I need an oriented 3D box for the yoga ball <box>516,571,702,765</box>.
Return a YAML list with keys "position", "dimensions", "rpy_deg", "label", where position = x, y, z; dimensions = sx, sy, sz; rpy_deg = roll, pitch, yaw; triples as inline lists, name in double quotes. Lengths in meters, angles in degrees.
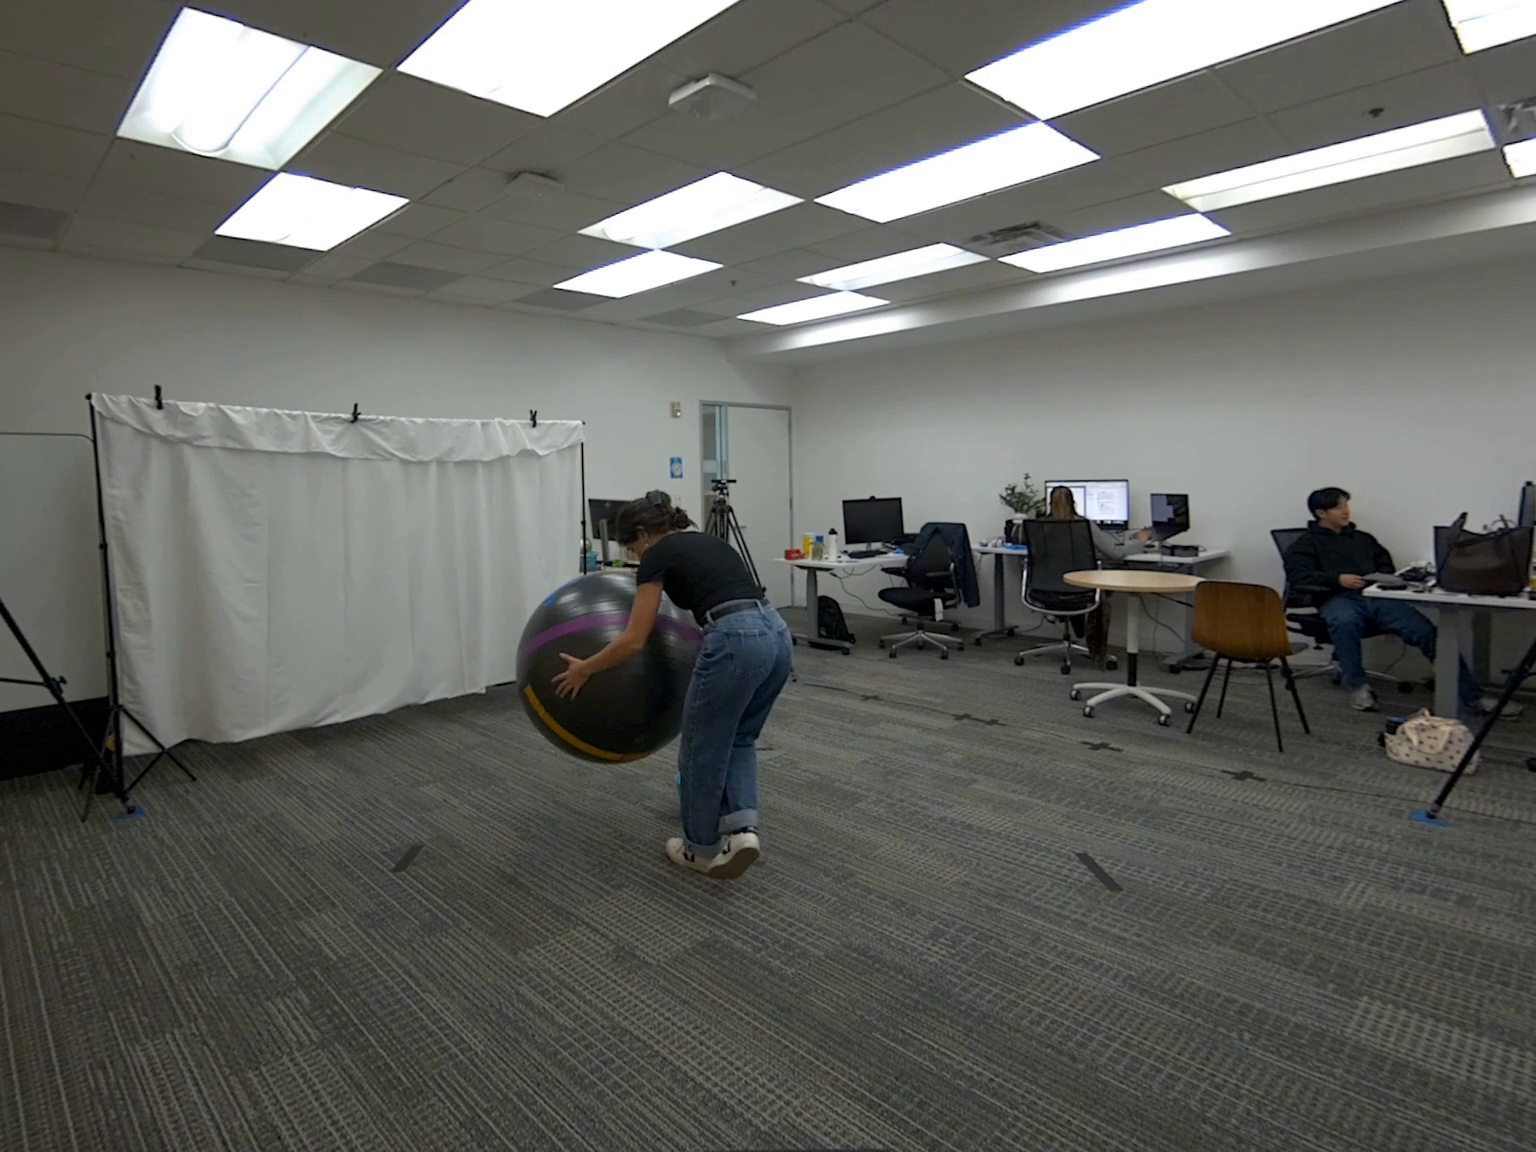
- position: [-0.633, 0.371, 3.439]
  dimensions: [0.757, 0.755, 0.762]
  rpy_deg: [-1, 5, -2]
  label: "yoga ball"
